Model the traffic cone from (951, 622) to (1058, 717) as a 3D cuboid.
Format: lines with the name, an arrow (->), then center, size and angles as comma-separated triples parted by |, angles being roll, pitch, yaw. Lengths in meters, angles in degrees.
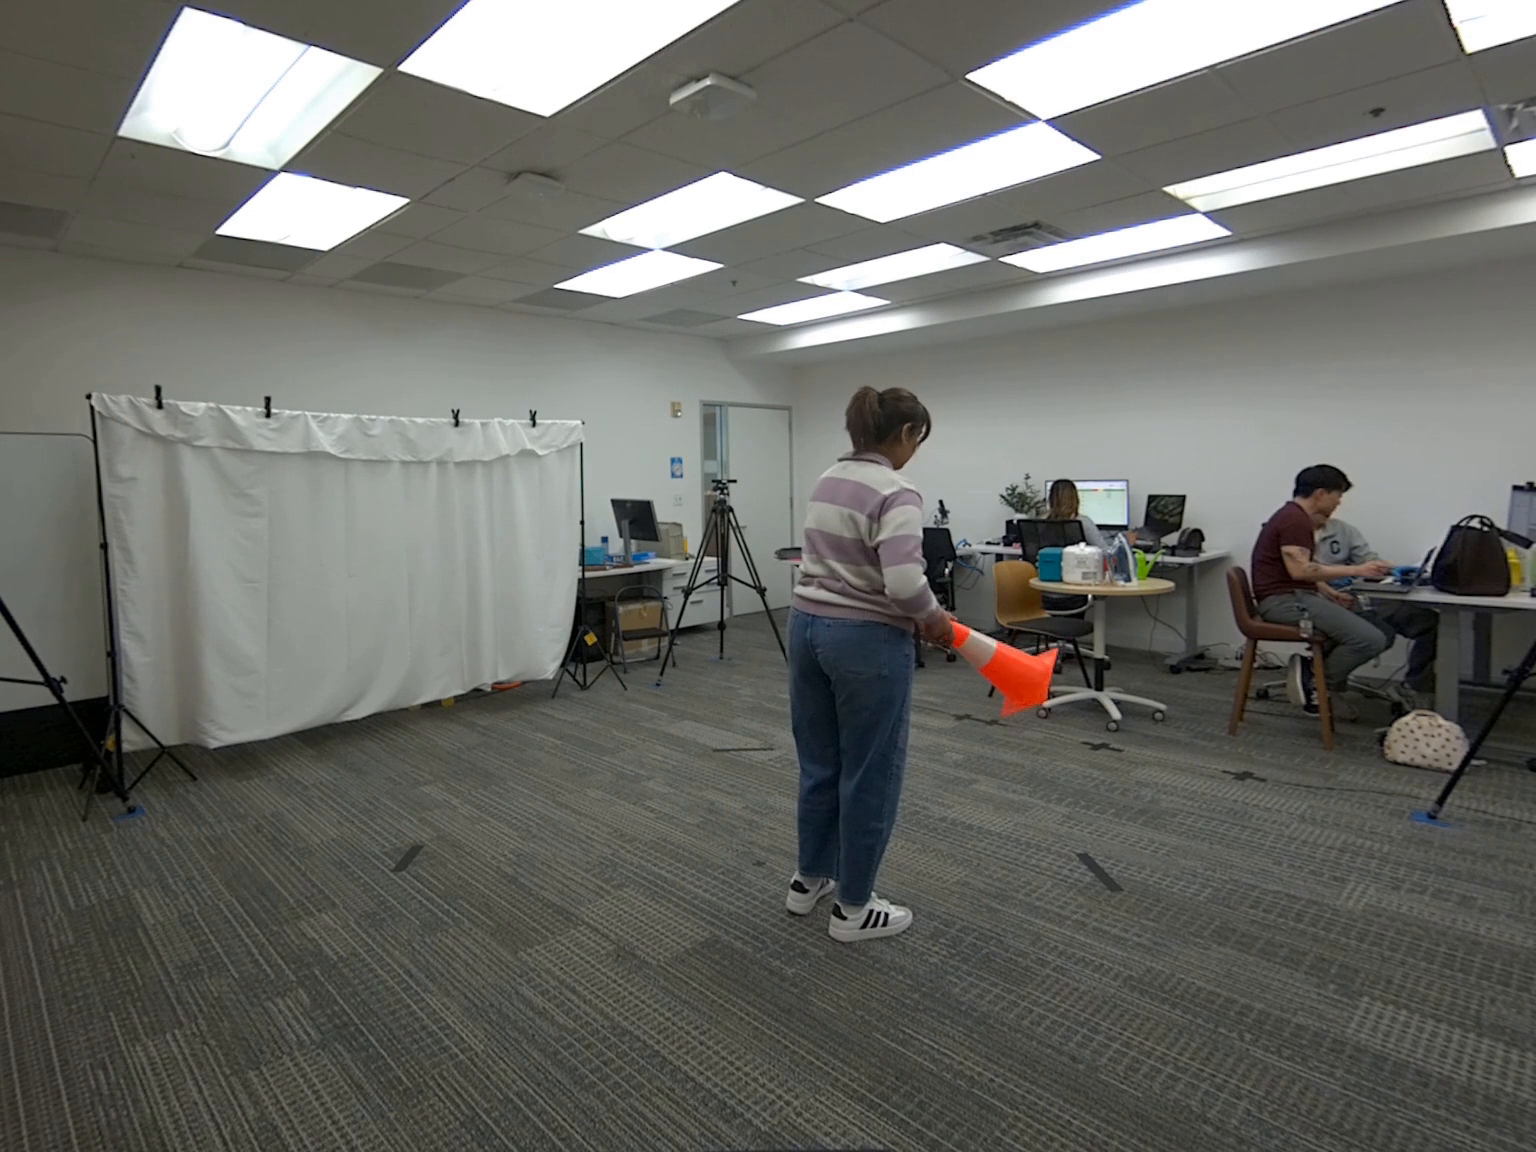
traffic cone -> 0.622, 0.222, 2.584 | 0.382, 0.205, 0.204 | 33, -36, -4
